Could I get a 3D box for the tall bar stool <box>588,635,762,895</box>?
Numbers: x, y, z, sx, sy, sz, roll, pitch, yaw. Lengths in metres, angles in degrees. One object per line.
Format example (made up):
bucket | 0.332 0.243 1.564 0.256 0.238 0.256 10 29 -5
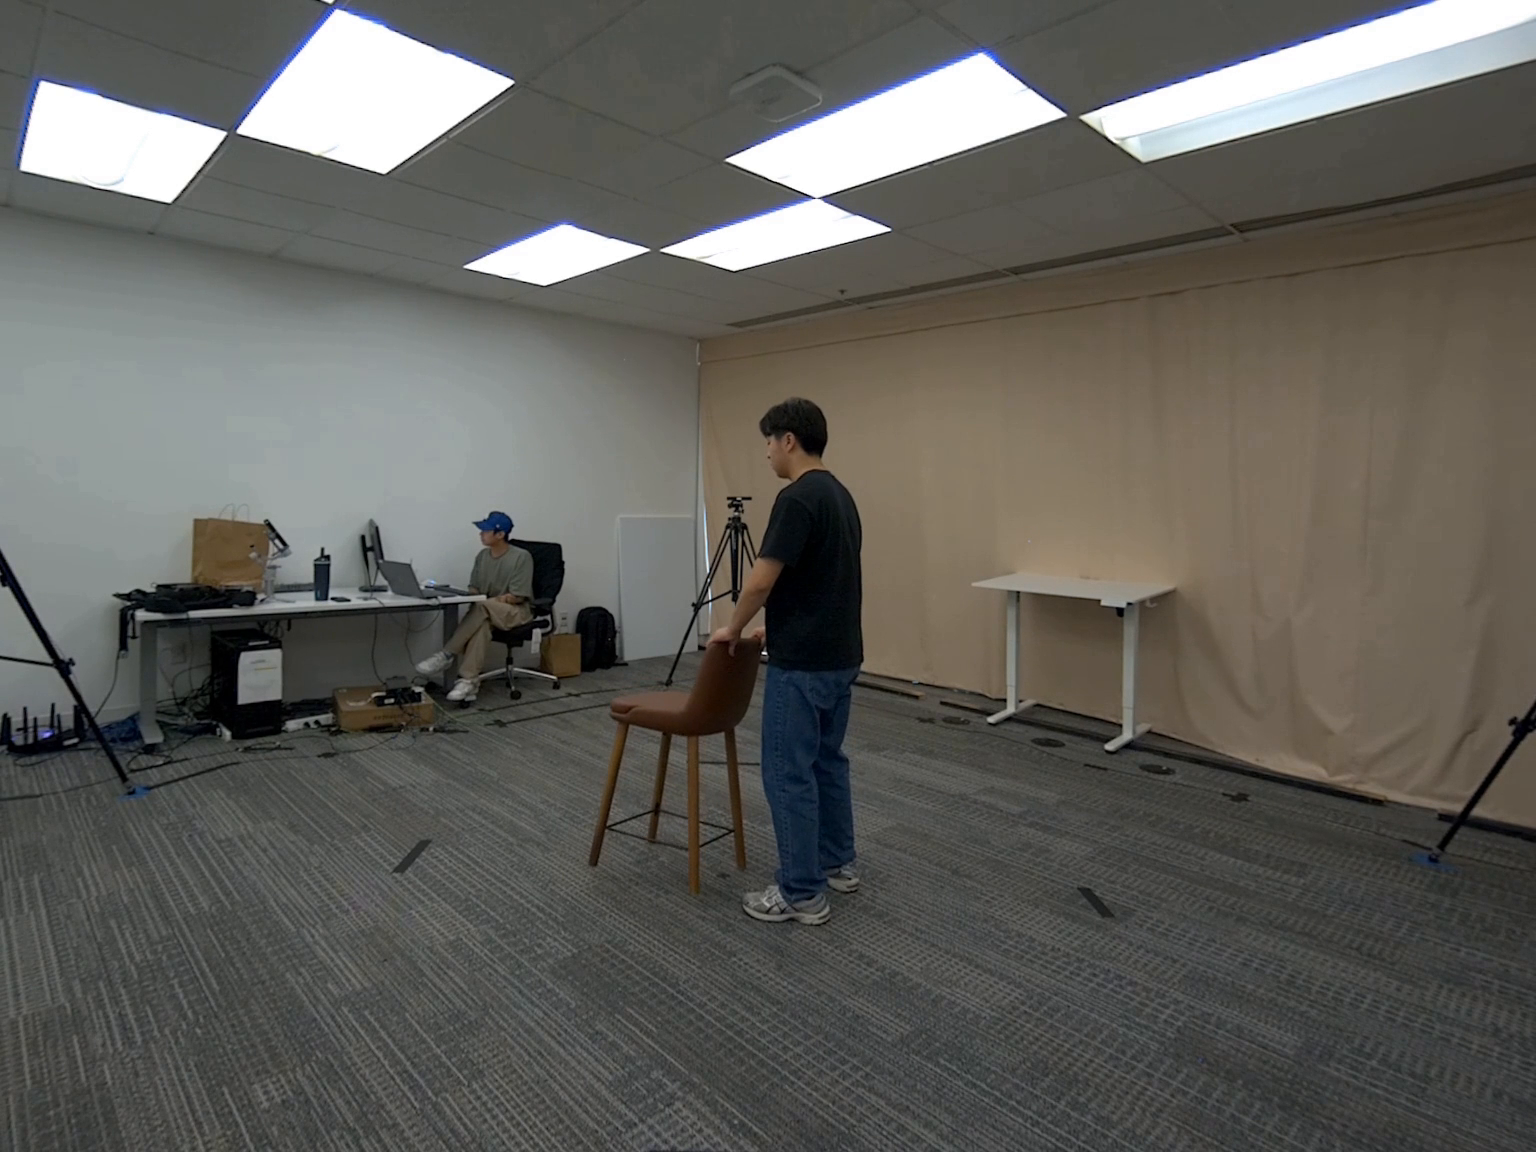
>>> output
tall bar stool | -0.327 0.644 3.138 0.478 0.890 0.446 6 -1 29
